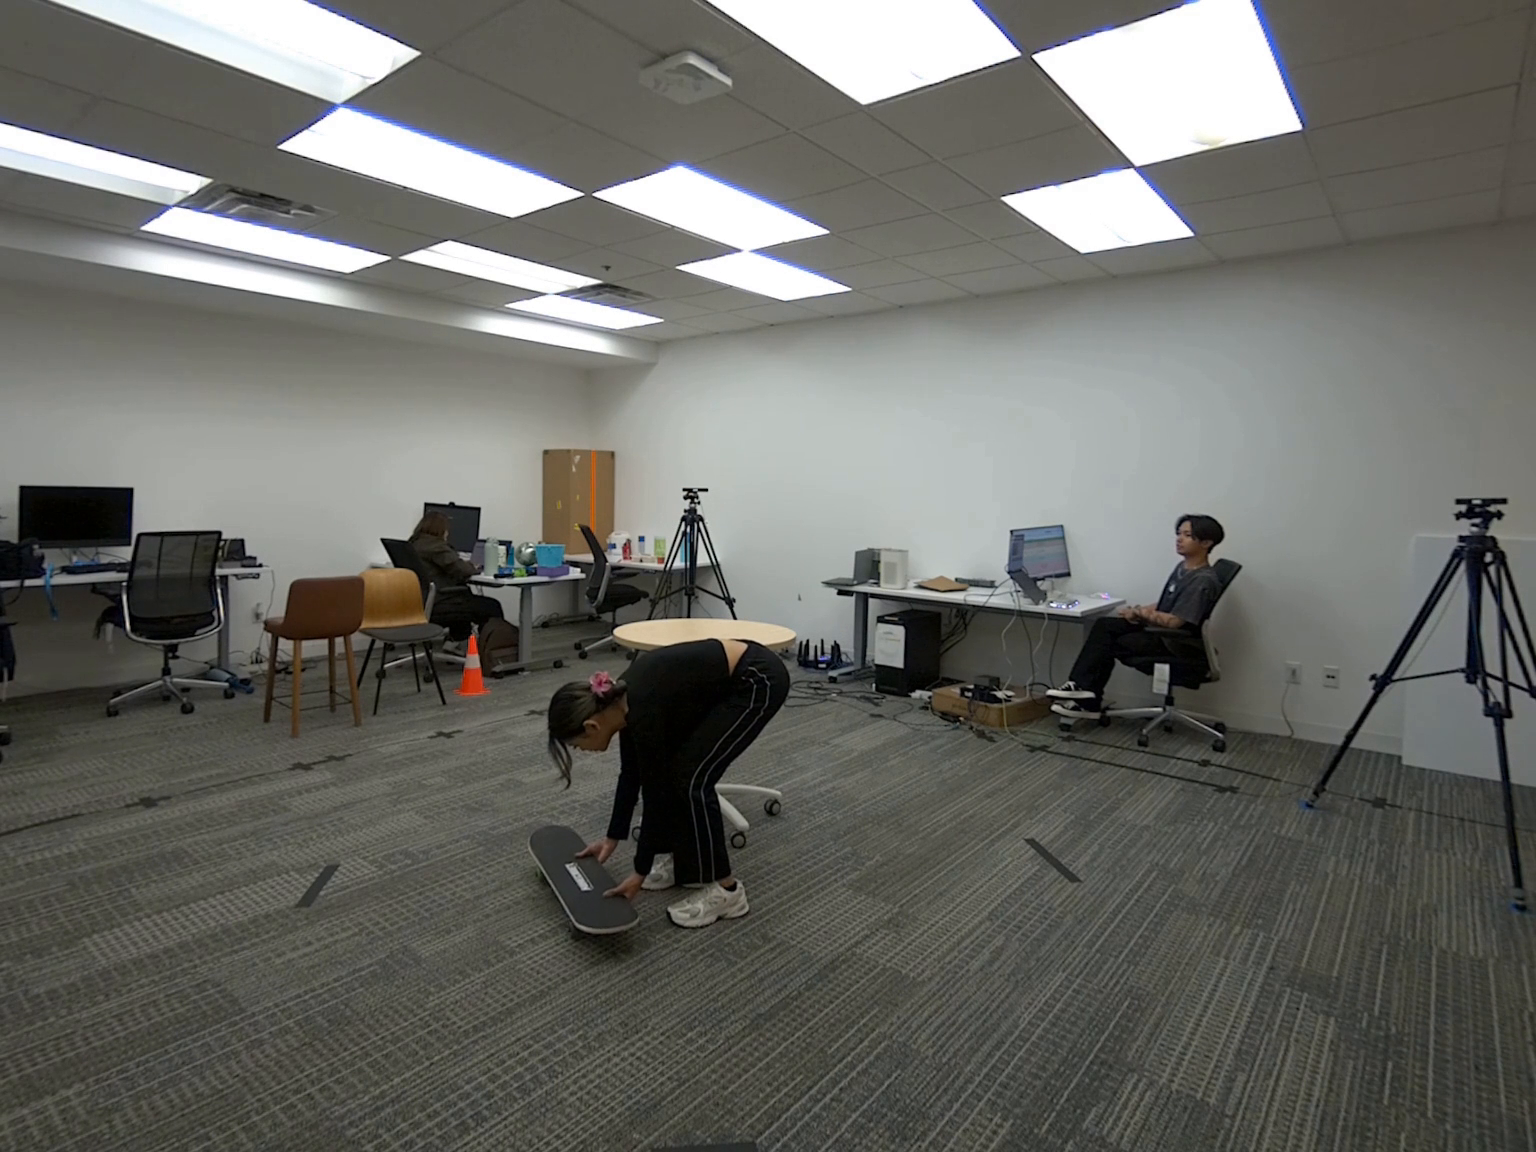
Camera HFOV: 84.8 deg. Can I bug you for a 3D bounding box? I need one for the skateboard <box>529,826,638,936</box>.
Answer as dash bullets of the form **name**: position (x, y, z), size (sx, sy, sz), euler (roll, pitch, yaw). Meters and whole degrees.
- **skateboard**: position (-0.628, 1.015, 2.823), size (0.188, 0.110, 0.809), euler (-2, 6, -29)
